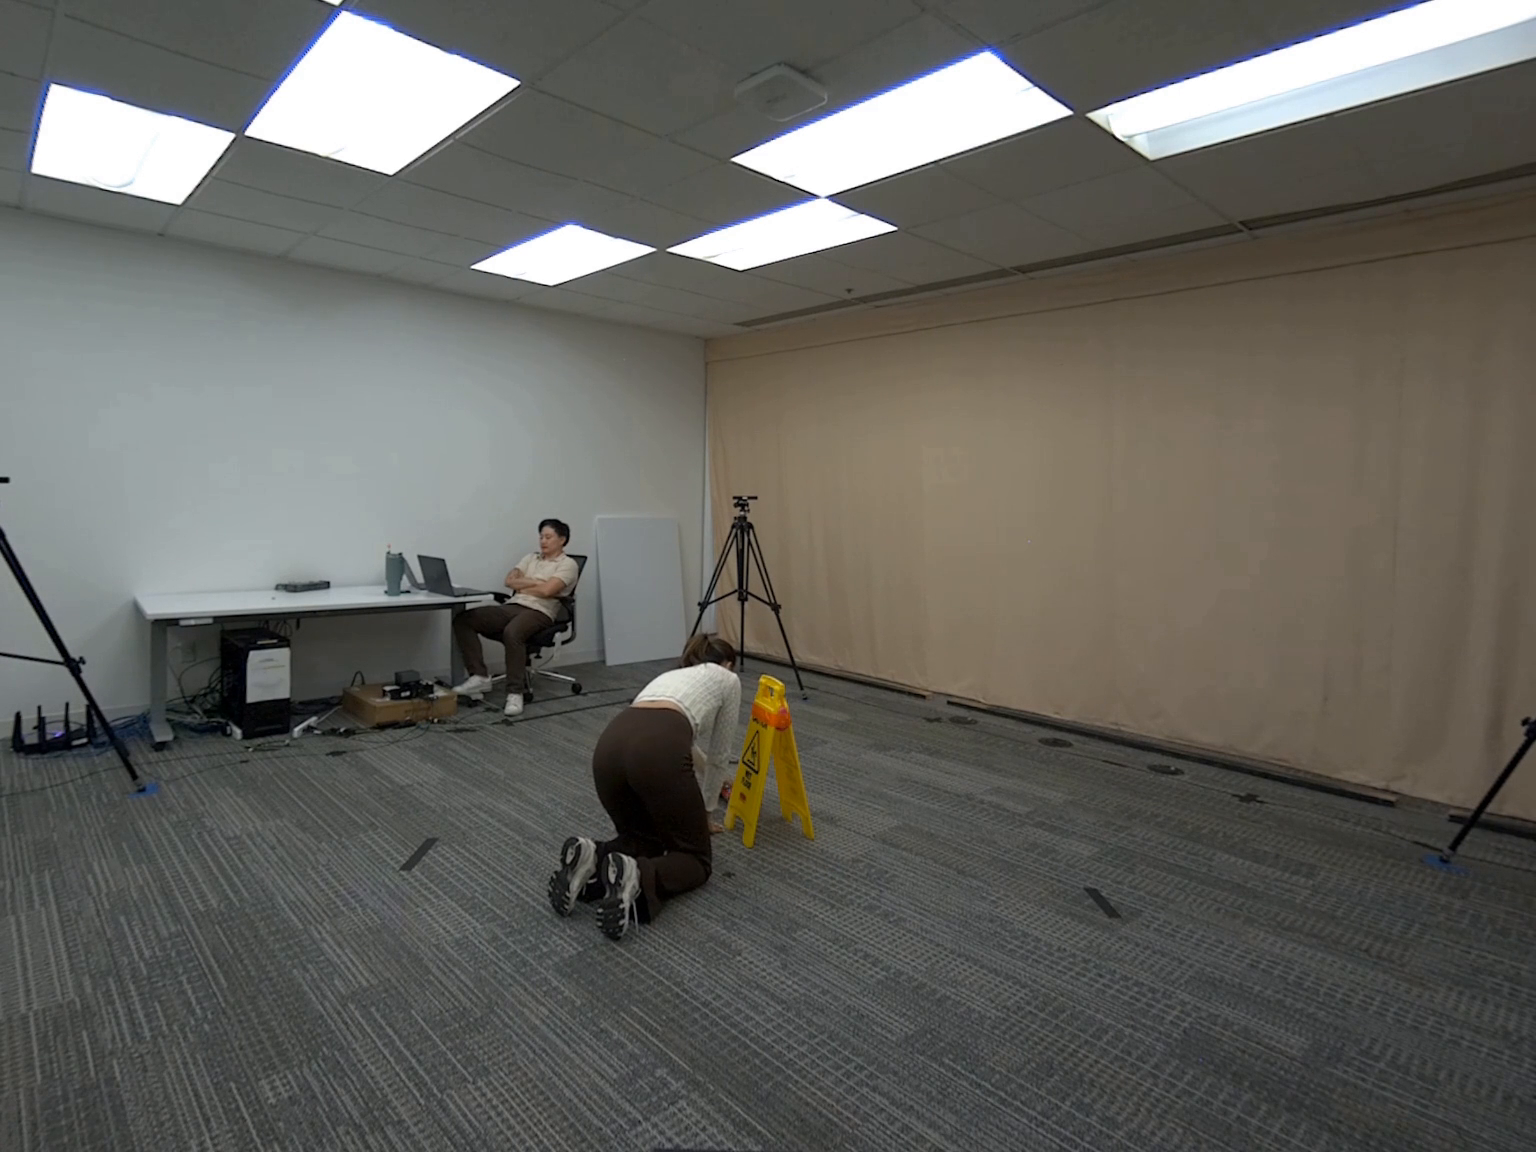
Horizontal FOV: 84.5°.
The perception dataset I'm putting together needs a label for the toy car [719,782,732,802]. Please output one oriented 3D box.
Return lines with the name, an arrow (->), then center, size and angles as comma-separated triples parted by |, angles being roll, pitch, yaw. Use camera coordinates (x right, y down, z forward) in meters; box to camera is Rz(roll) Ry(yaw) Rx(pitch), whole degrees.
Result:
toy car -> -0.147, 1.012, 3.852 | 0.128, 0.084, 0.257 | 2, -7, -20
